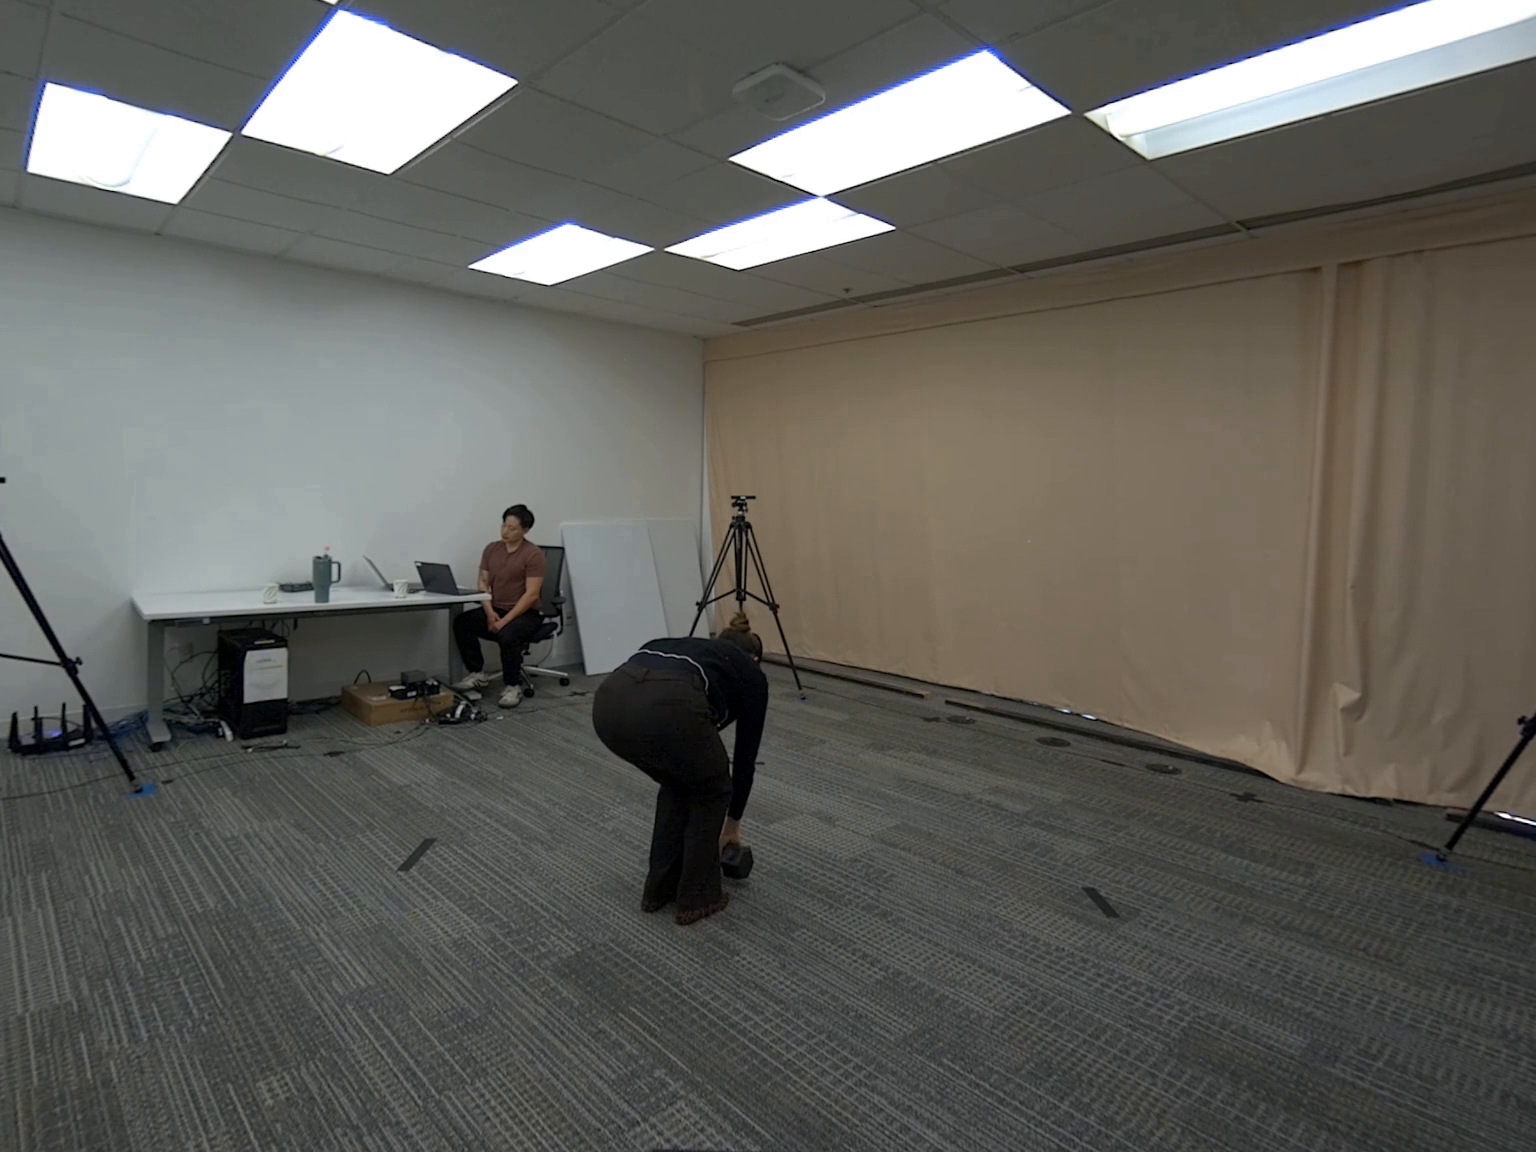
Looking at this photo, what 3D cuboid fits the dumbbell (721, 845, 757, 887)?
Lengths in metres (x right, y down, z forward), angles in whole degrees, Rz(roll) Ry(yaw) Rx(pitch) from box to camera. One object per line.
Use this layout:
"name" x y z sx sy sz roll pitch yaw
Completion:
"dumbbell" -0.204 1.028 3.079 0.300 0.109 0.119 3 -9 36
